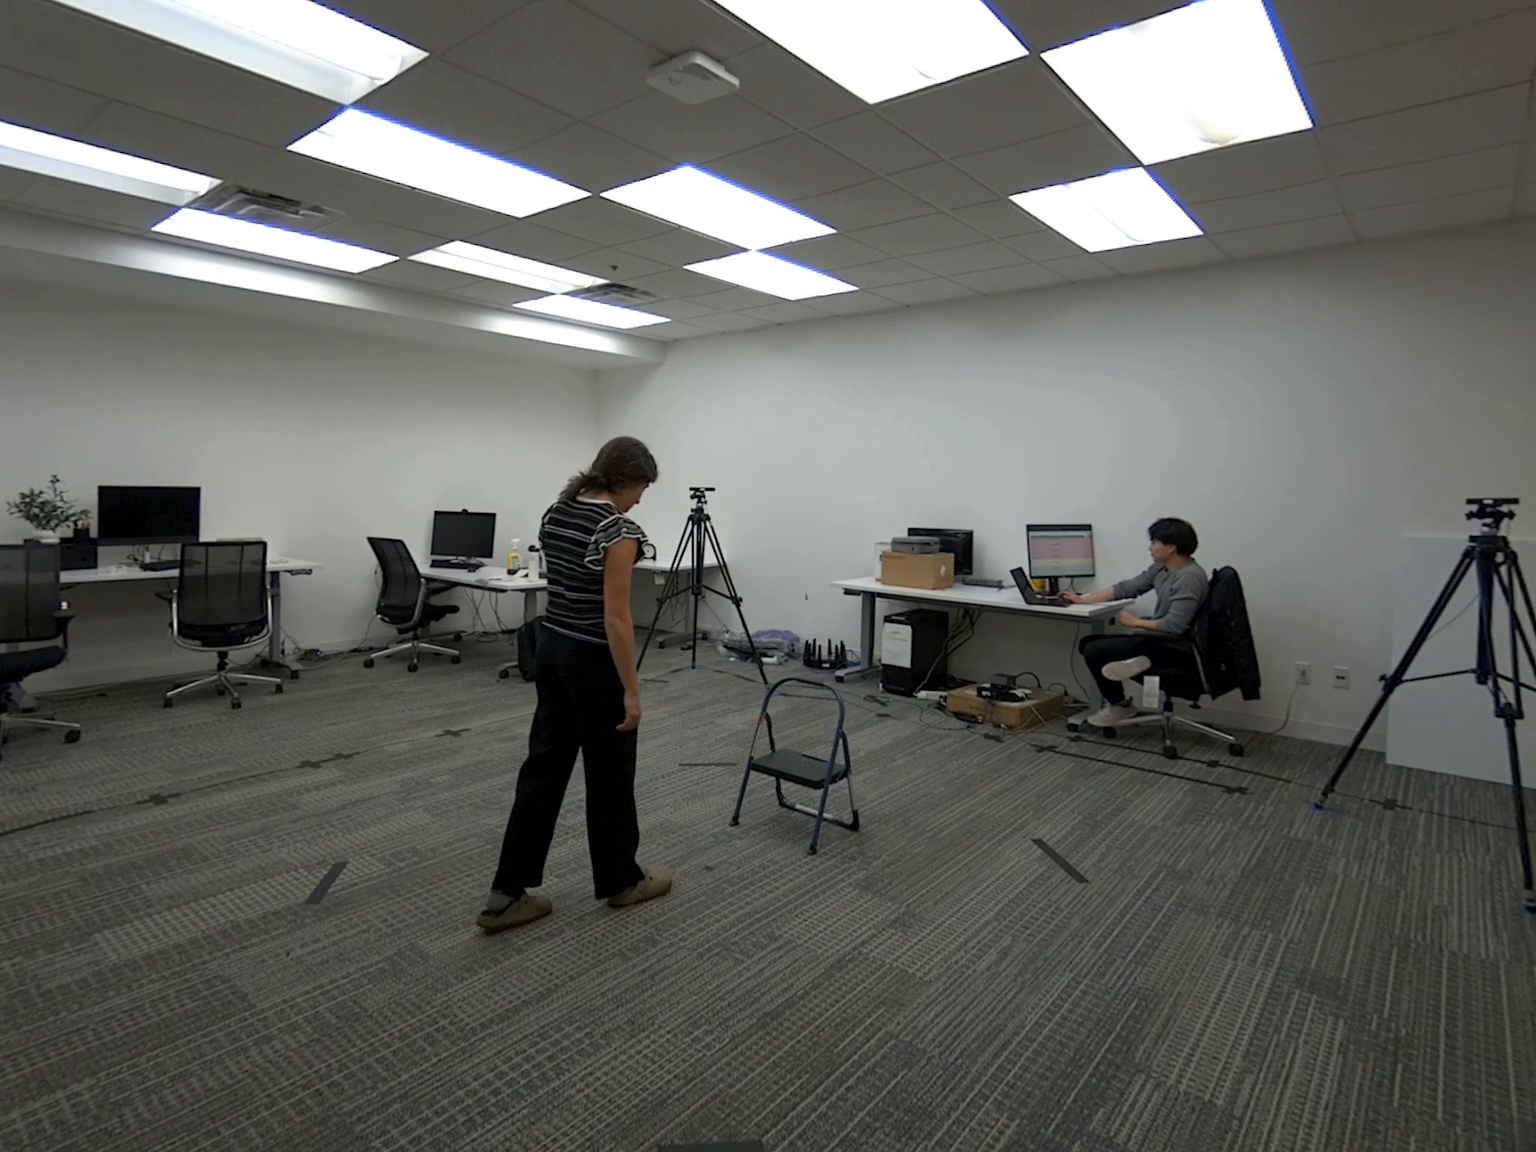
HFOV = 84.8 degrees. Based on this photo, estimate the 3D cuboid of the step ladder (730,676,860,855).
[{"bbox_3d":[0.110,0.733,3.492,0.445,0.604,0.339,4,4,39],"label":"step ladder"}]
